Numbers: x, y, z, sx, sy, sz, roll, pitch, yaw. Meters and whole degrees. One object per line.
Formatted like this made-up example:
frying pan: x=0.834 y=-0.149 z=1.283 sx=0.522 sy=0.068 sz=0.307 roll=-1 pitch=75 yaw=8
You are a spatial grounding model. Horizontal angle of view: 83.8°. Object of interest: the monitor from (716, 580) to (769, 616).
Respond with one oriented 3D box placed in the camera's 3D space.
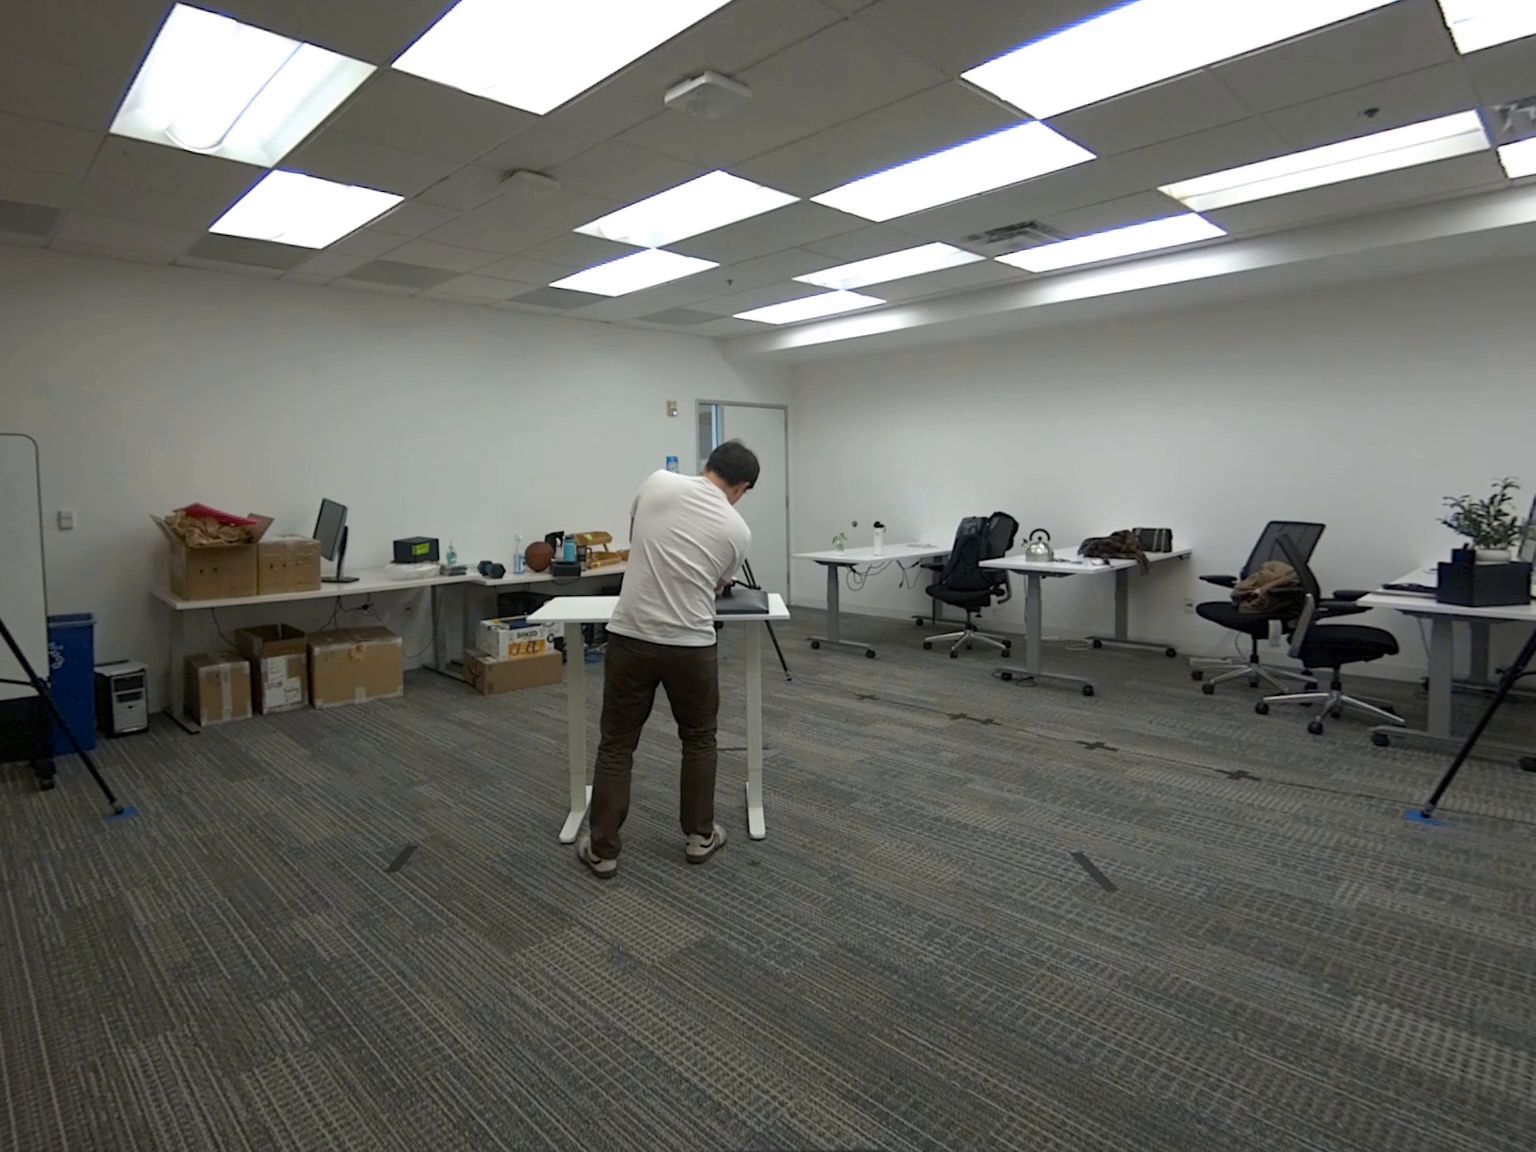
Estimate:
monitor: x=-0.249 y=0.055 z=3.542 sx=0.523 sy=0.186 sz=0.541 roll=16 pitch=7 yaw=-1
